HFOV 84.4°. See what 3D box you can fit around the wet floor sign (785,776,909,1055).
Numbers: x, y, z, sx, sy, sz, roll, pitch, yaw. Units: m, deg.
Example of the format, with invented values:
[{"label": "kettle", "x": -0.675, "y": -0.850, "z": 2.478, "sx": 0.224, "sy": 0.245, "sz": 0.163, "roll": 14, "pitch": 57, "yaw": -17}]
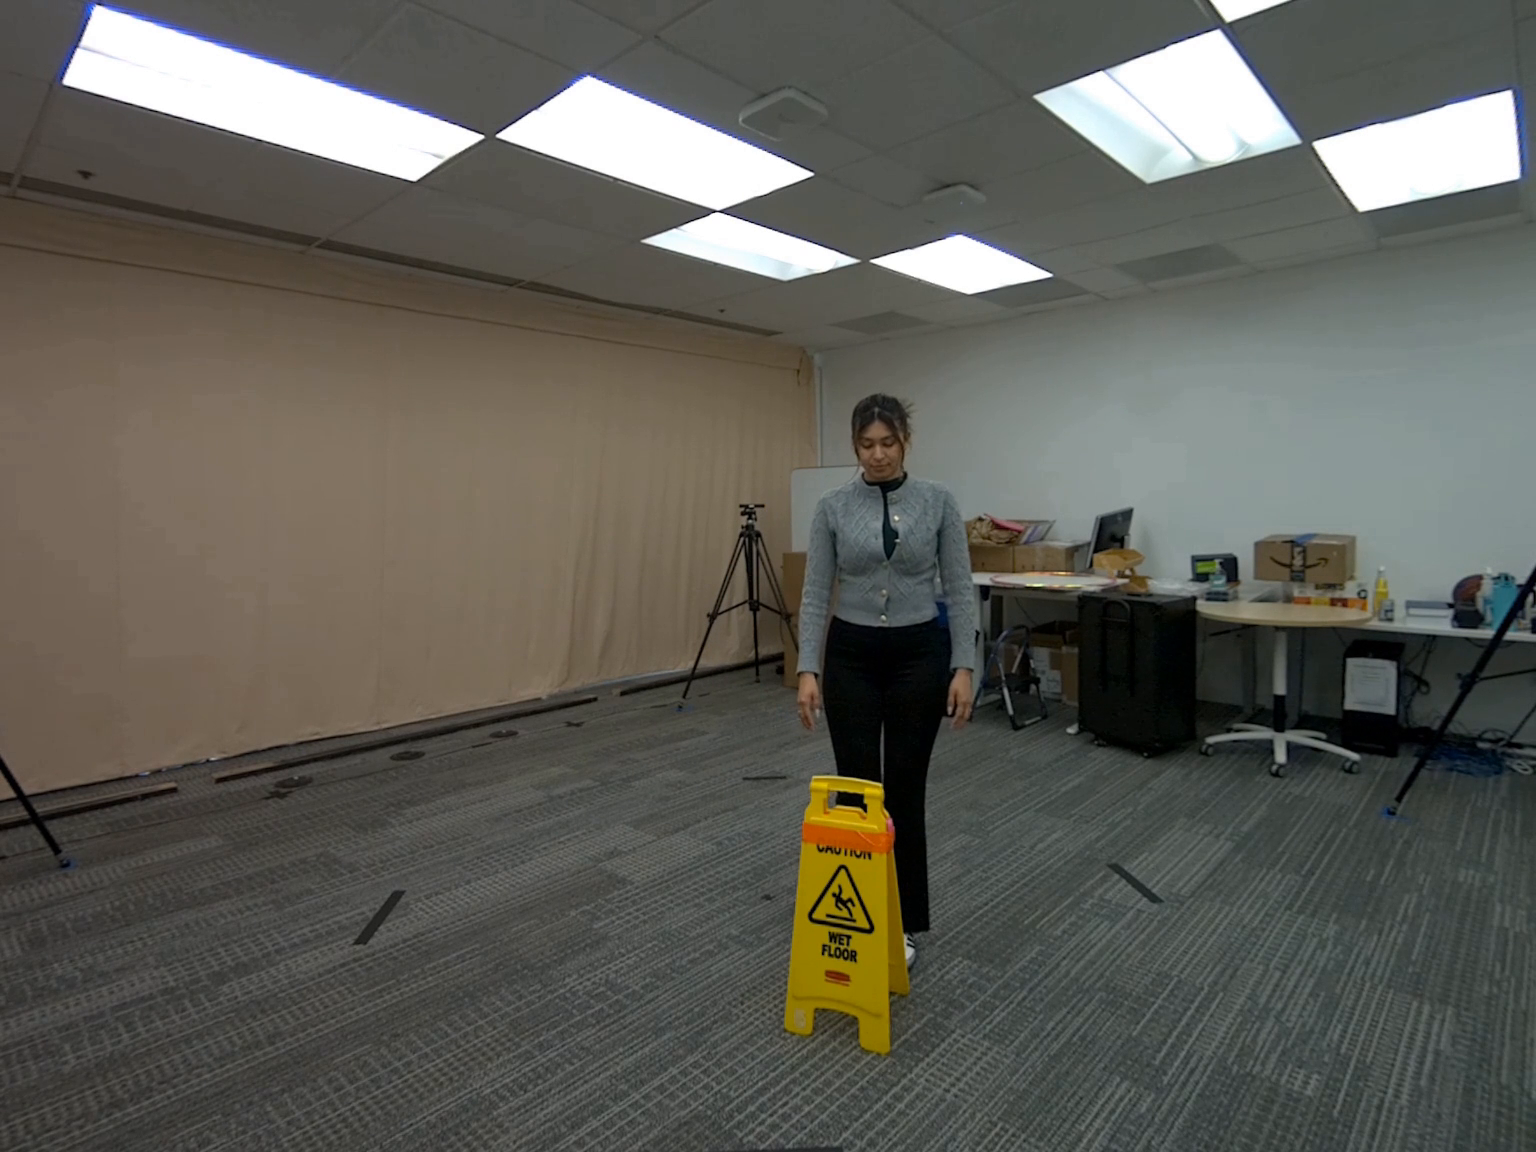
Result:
[{"label": "wet floor sign", "x": 0.223, "y": 0.876, "z": 2.284, "sx": 0.289, "sy": 0.644, "sz": 0.284, "roll": 0, "pitch": 4, "yaw": 22}]
